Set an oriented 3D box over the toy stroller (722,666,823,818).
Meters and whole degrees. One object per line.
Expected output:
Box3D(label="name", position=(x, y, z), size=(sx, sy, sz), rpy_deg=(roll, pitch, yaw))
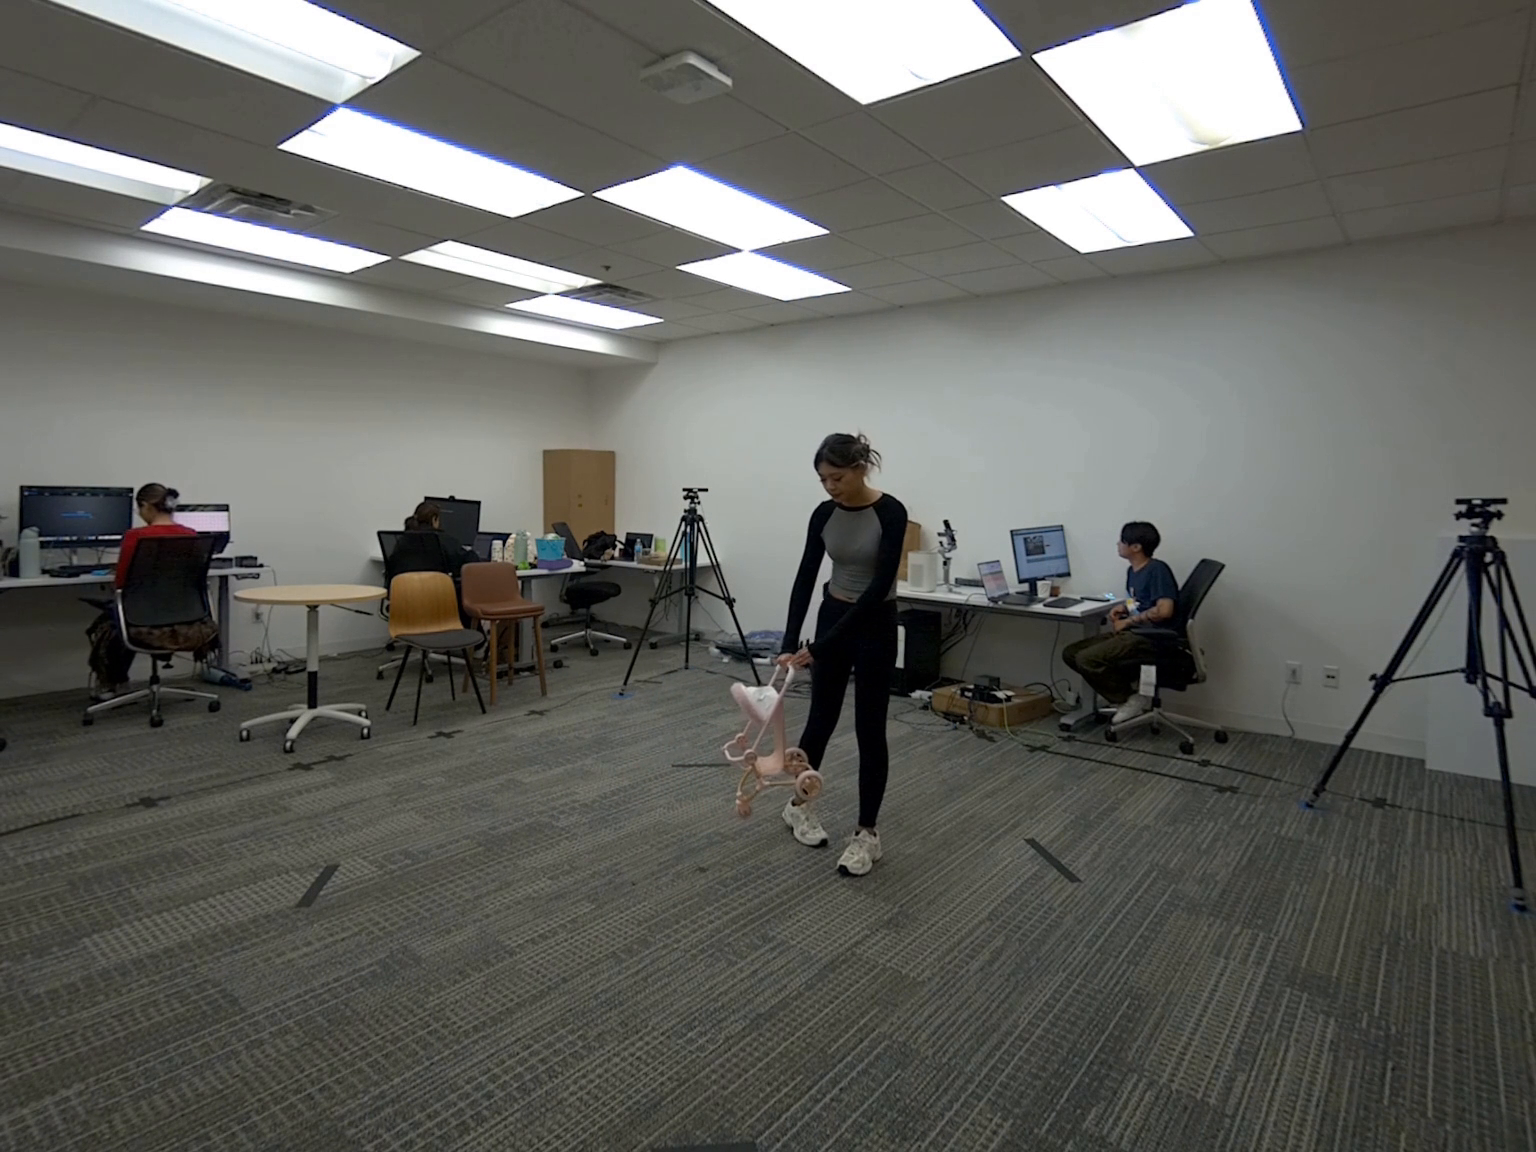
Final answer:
Box3D(label="toy stroller", position=(-0.042, 0.604, 3.132), size=(0.340, 0.531, 0.285), rpy_deg=(-13, 7, -4))
